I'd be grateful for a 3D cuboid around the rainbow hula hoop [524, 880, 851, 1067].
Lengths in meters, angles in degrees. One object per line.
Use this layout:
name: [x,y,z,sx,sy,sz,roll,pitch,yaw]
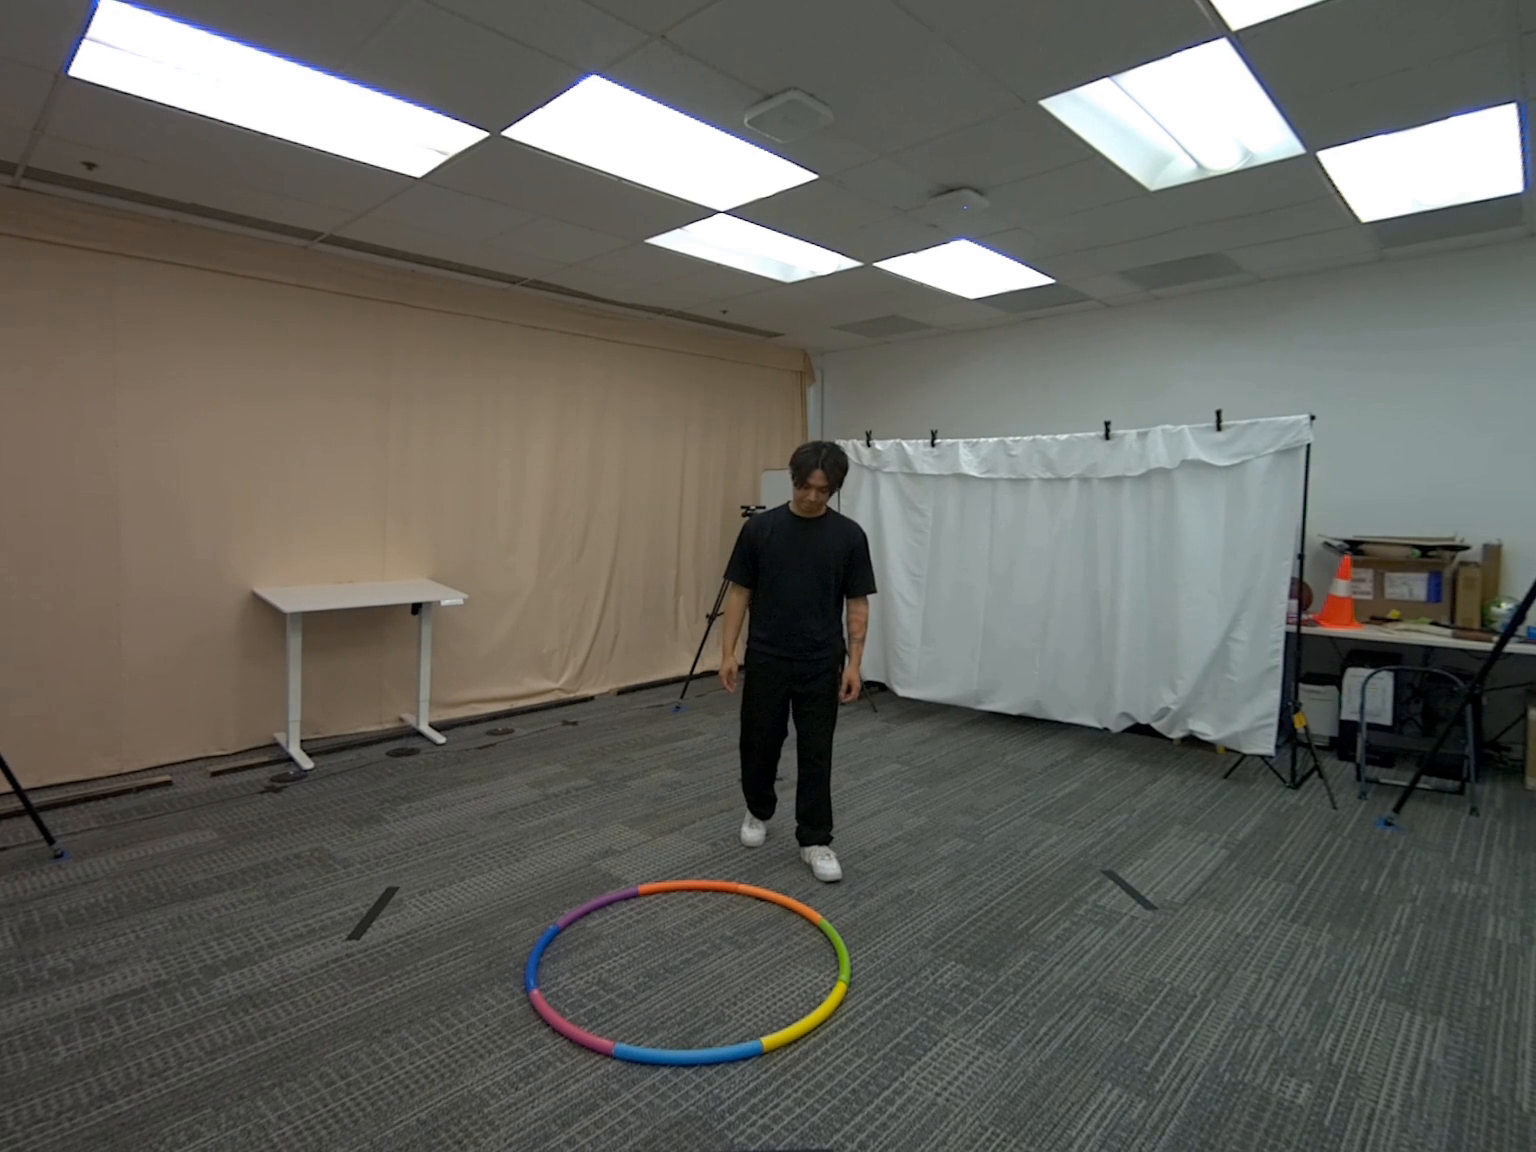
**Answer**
rainbow hula hoop: [-0.237,1.148,2.582,0.978,0.035,0.982,-1,4,-2]
